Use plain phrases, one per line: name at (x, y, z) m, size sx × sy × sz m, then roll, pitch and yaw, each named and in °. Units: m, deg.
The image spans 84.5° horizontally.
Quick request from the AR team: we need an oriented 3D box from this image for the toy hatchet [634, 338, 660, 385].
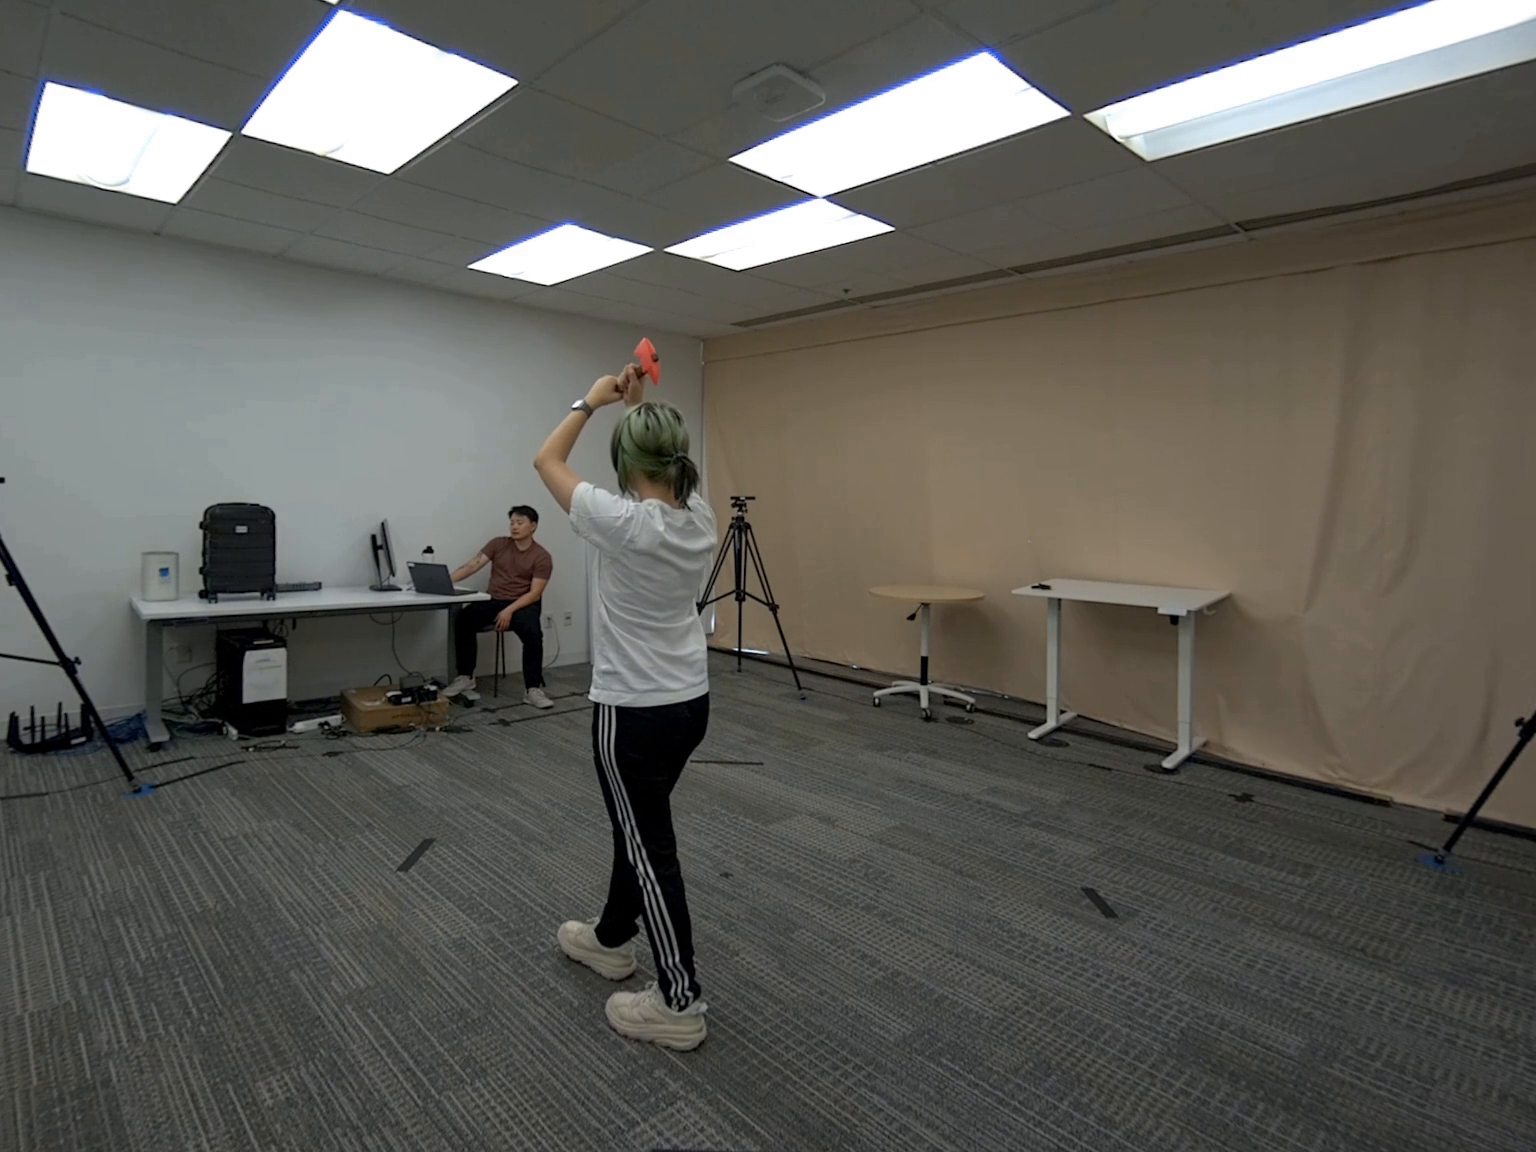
toy hatchet at (-0.384, -0.564, 2.267) m, size 0.029 × 0.131 × 0.277 m, roll -4°, pitch 5°, yaw -44°
